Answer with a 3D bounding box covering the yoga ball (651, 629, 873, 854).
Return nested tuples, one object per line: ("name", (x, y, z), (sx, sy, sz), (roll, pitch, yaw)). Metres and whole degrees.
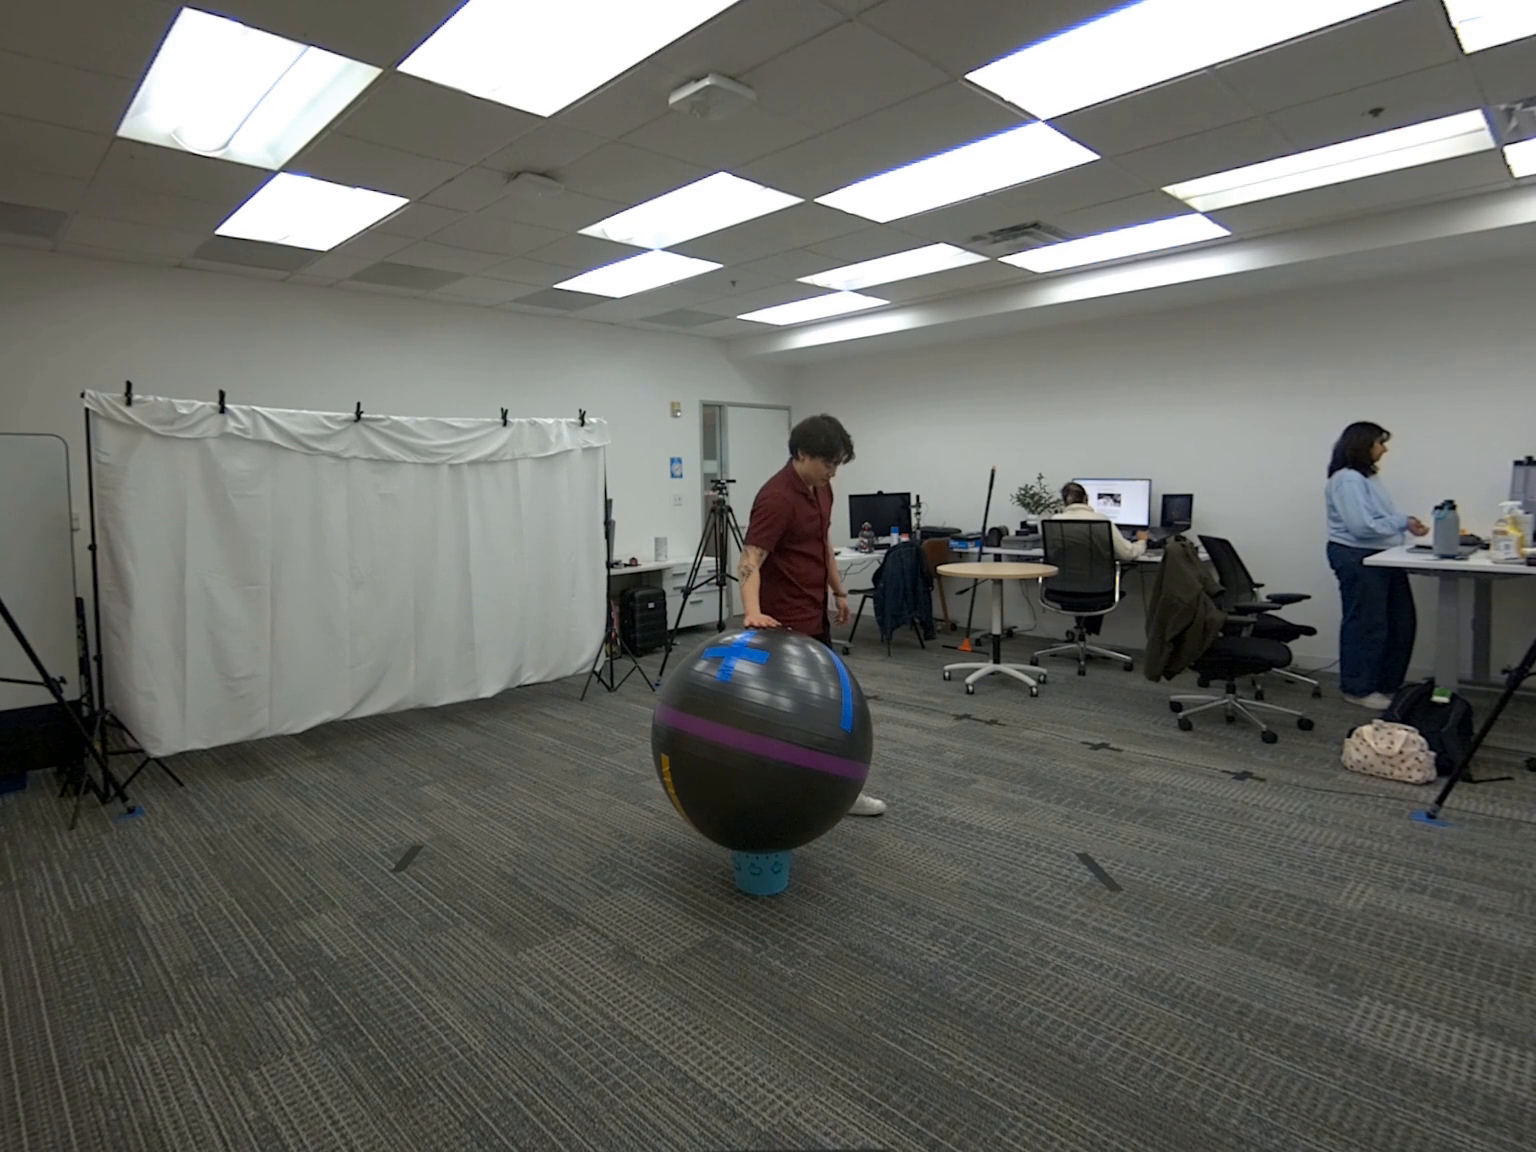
("yoga ball", (-0.021, 0.555, 2.949), (0.757, 0.755, 0.762), (-1, 5, -2))
